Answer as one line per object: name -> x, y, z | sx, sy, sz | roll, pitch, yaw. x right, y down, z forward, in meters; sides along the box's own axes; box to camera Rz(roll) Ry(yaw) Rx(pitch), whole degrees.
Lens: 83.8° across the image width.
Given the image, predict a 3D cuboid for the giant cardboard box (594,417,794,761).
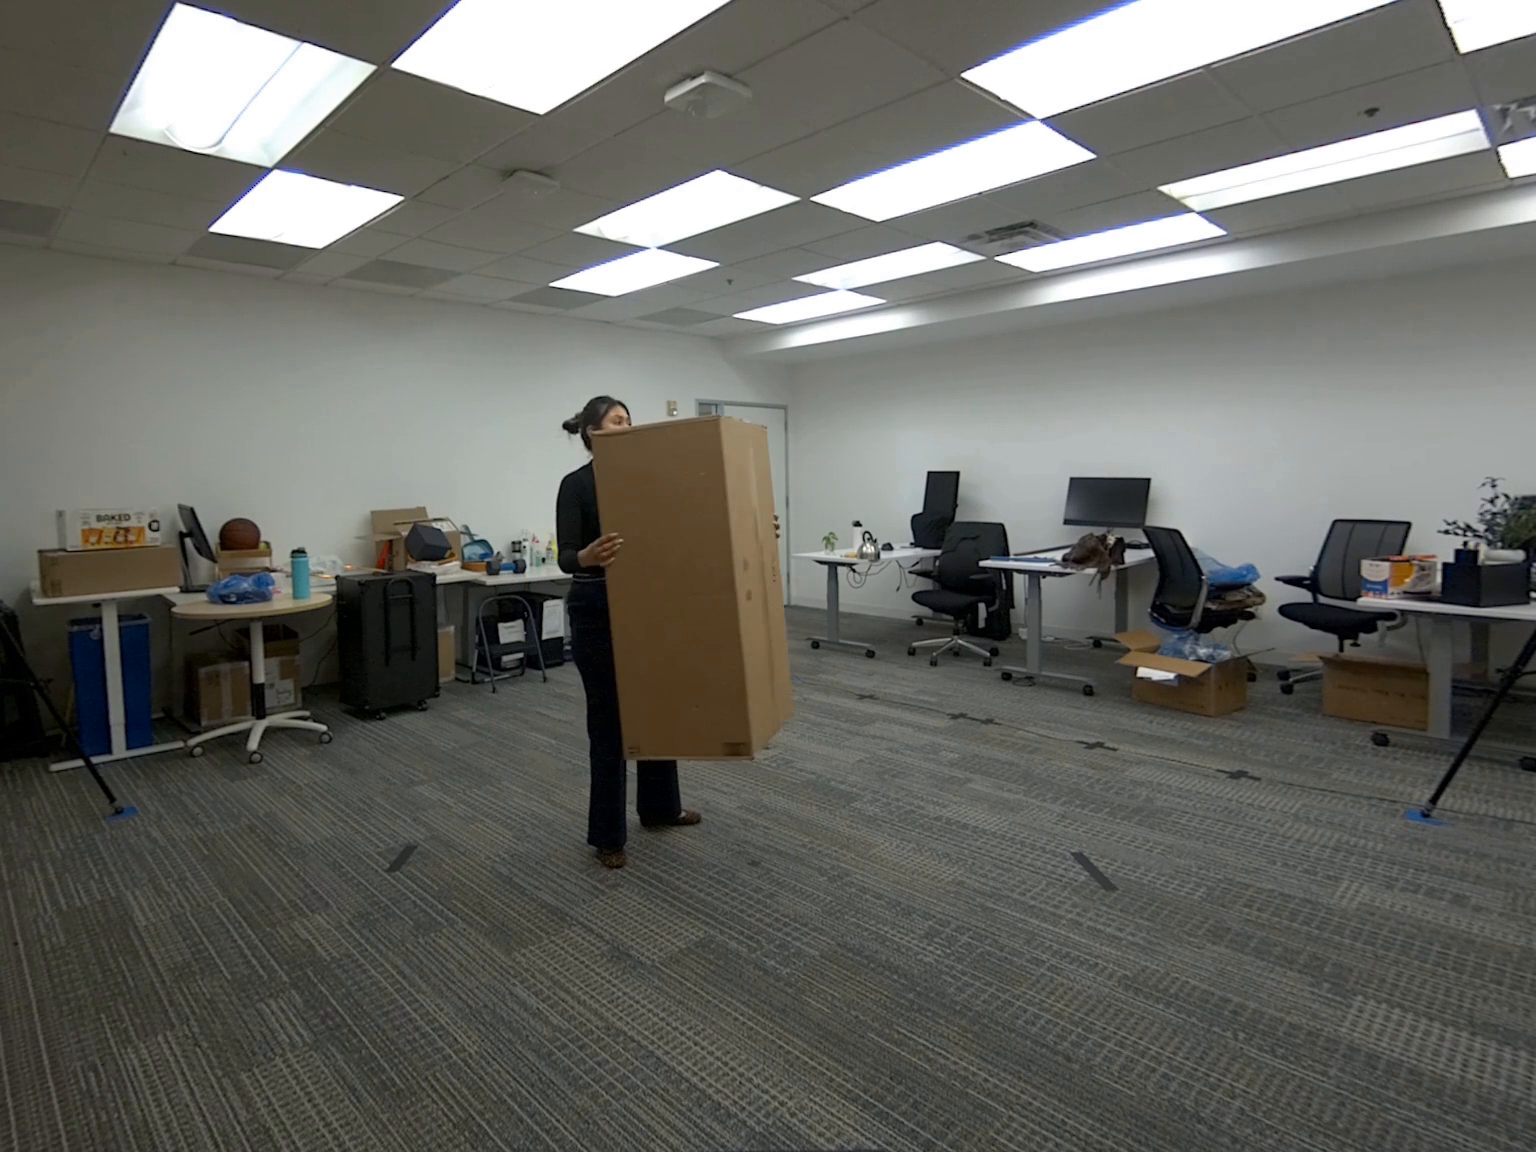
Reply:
giant cardboard box -> -0.228, 0.023, 2.841 | 0.432, 1.023, 0.571 | -5, 3, 16
